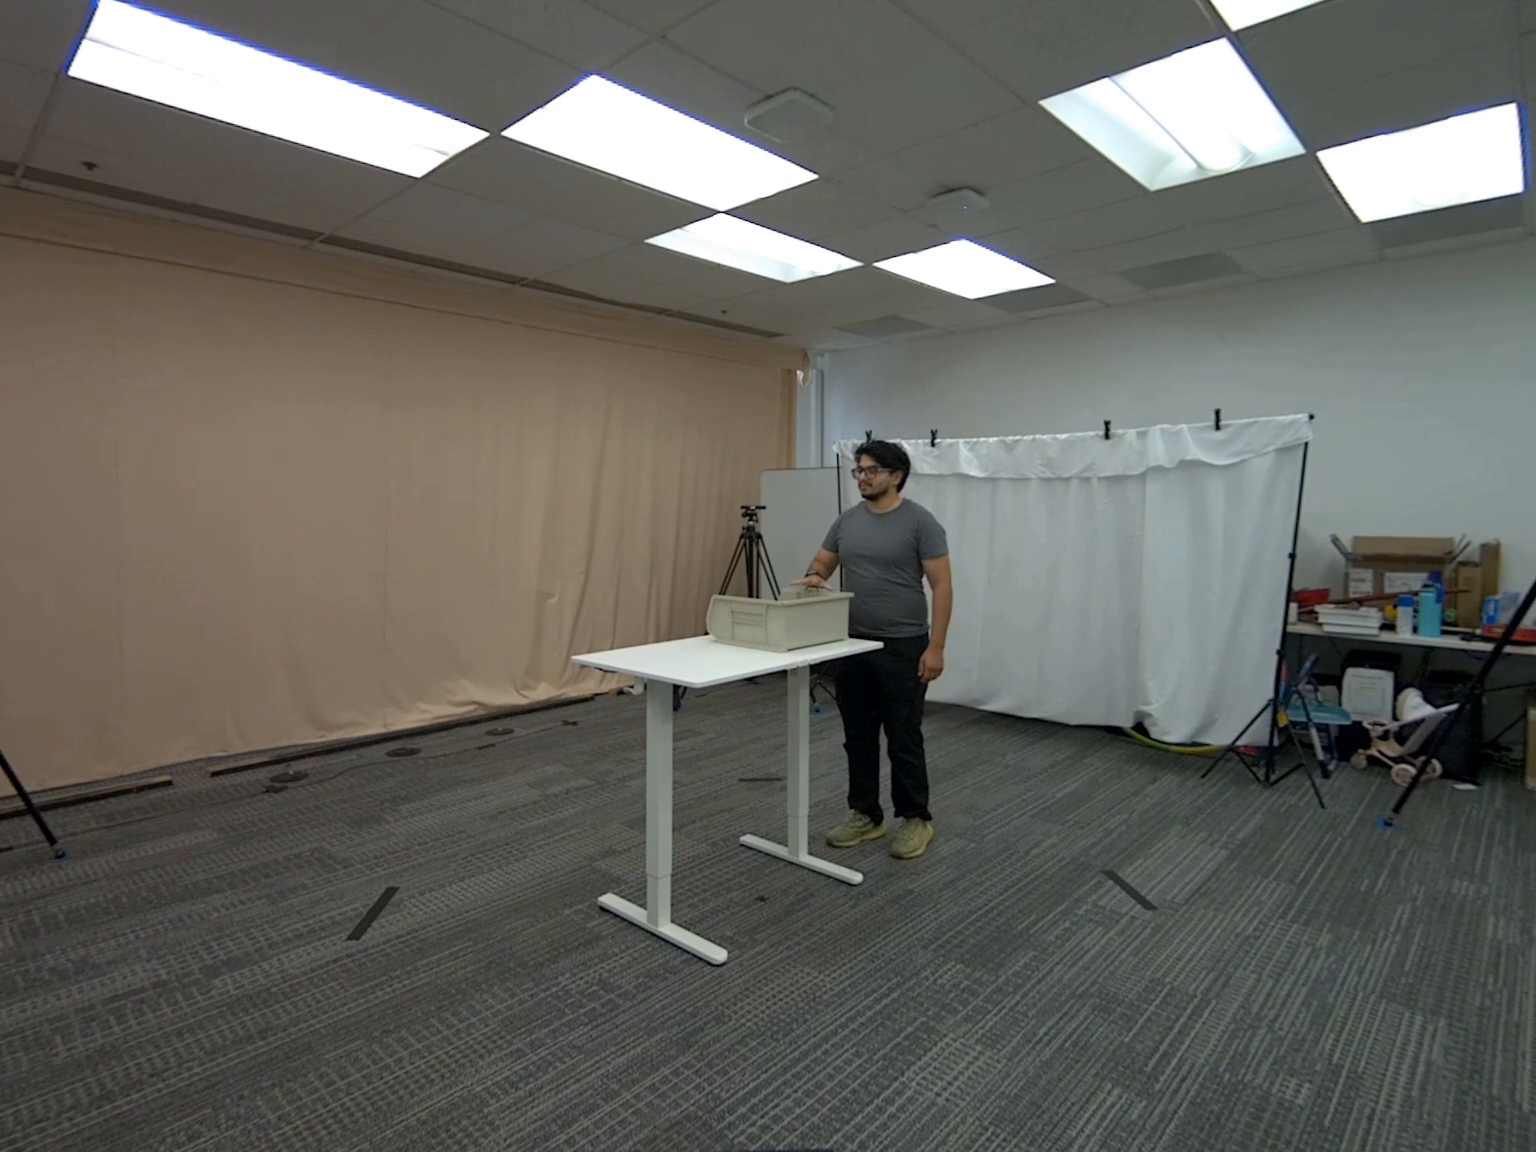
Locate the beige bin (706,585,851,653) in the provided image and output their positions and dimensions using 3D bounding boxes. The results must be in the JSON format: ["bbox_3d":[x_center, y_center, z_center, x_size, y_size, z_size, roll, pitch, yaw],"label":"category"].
[{"bbox_3d":[0.046,0.156,3.179,0.390,0.188,0.409,6,7,42],"label":"beige bin"}]
